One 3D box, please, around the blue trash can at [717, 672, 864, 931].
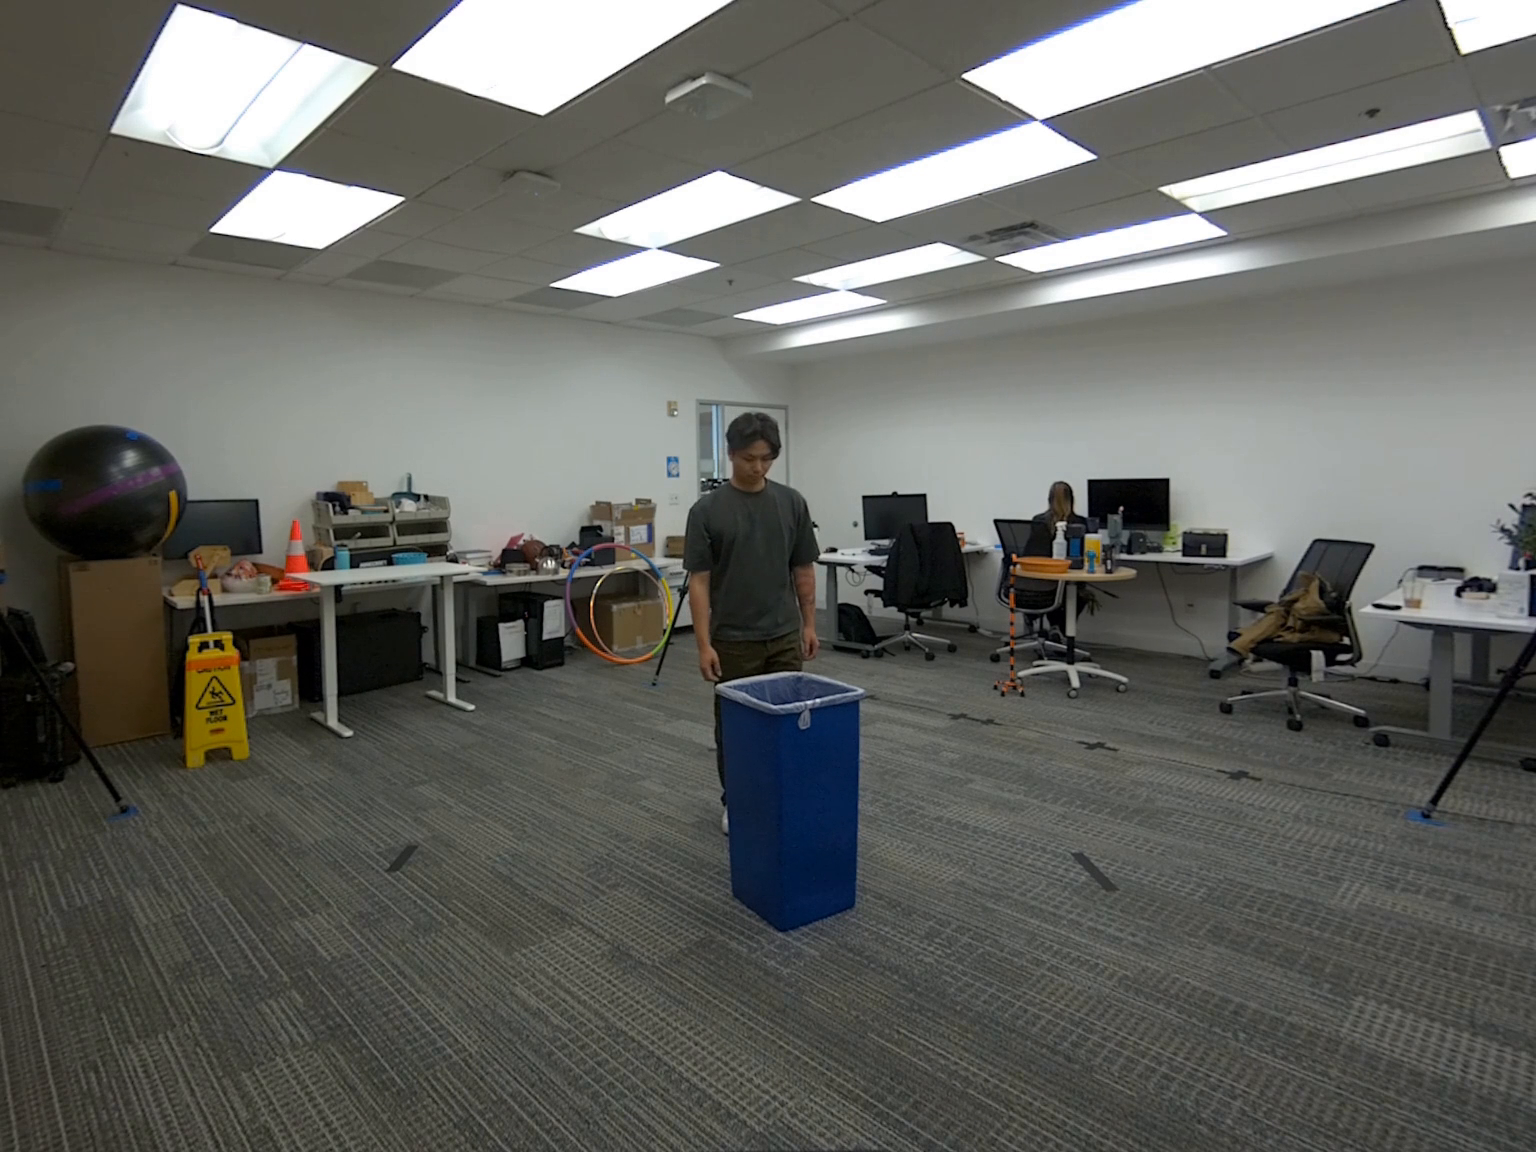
[{"bbox_3d":[0.071,0.721,2.803,0.364,0.712,0.389,-3,4,-35],"label":"blue trash can"}]
